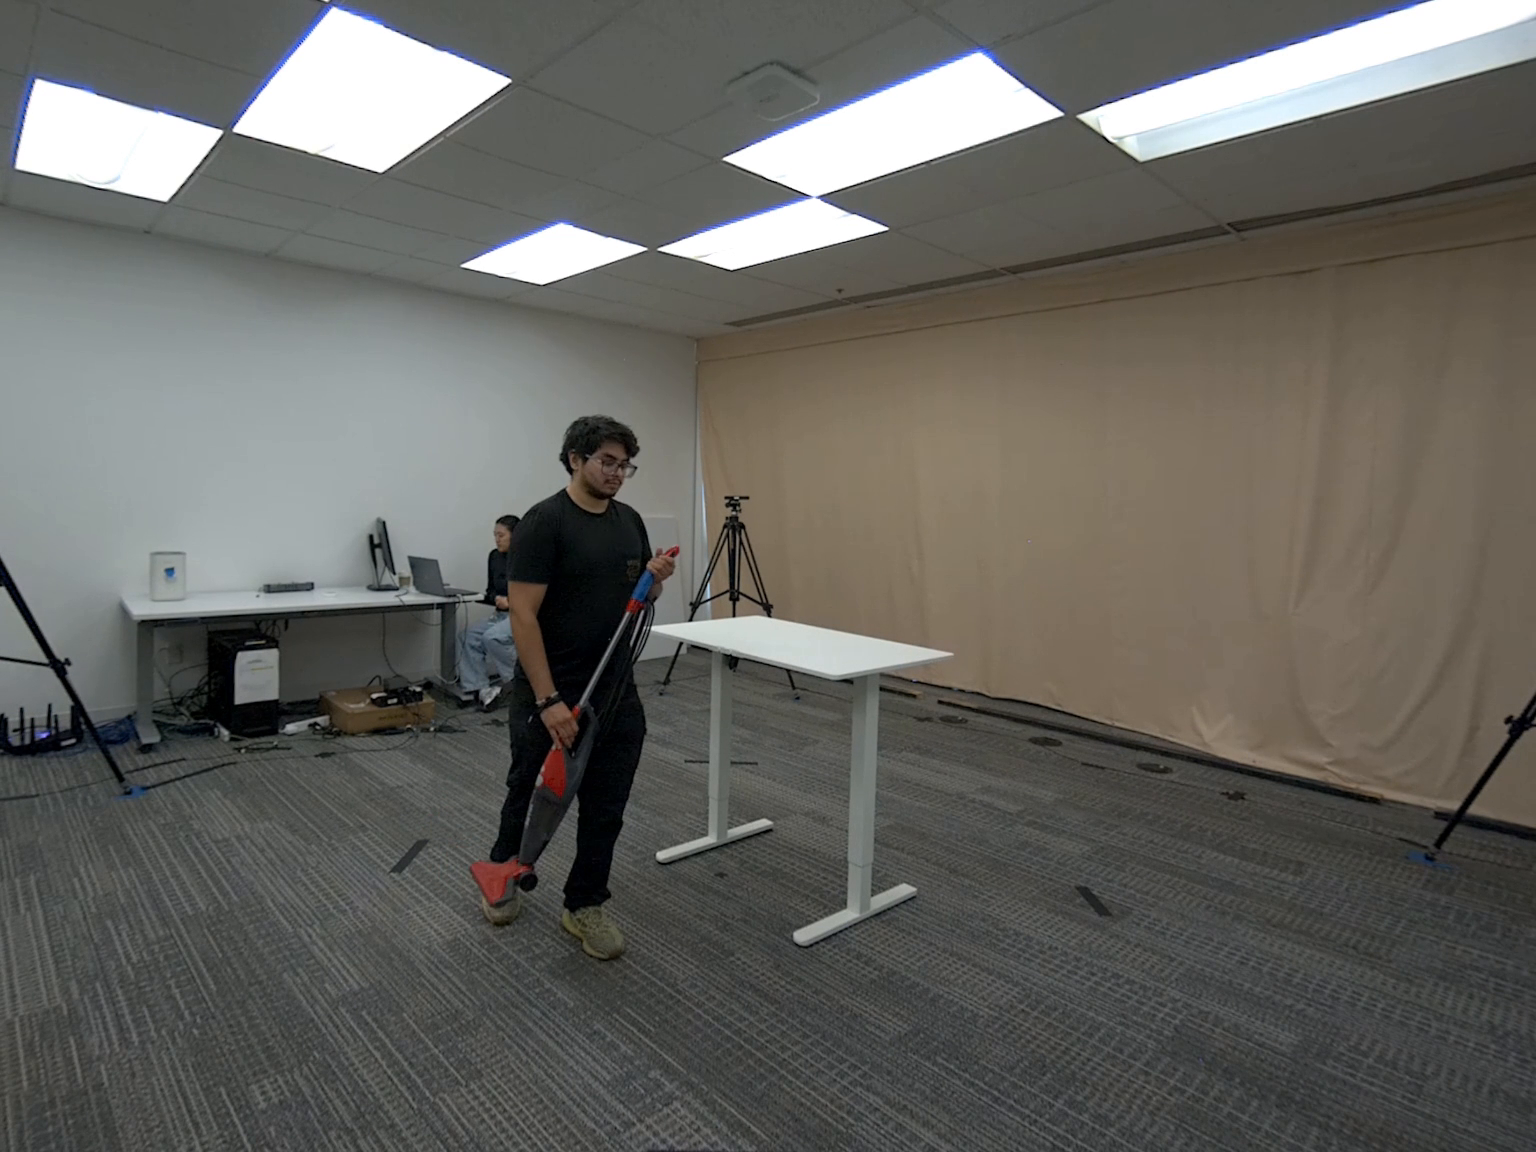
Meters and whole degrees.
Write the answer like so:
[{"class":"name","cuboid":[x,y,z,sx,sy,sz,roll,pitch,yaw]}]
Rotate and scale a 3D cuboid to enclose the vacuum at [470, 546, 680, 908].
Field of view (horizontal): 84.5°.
[{"class":"vacuum","cuboid":[-0.514,0.401,2.410,0.140,1.052,0.259,34,-12,-35]}]
